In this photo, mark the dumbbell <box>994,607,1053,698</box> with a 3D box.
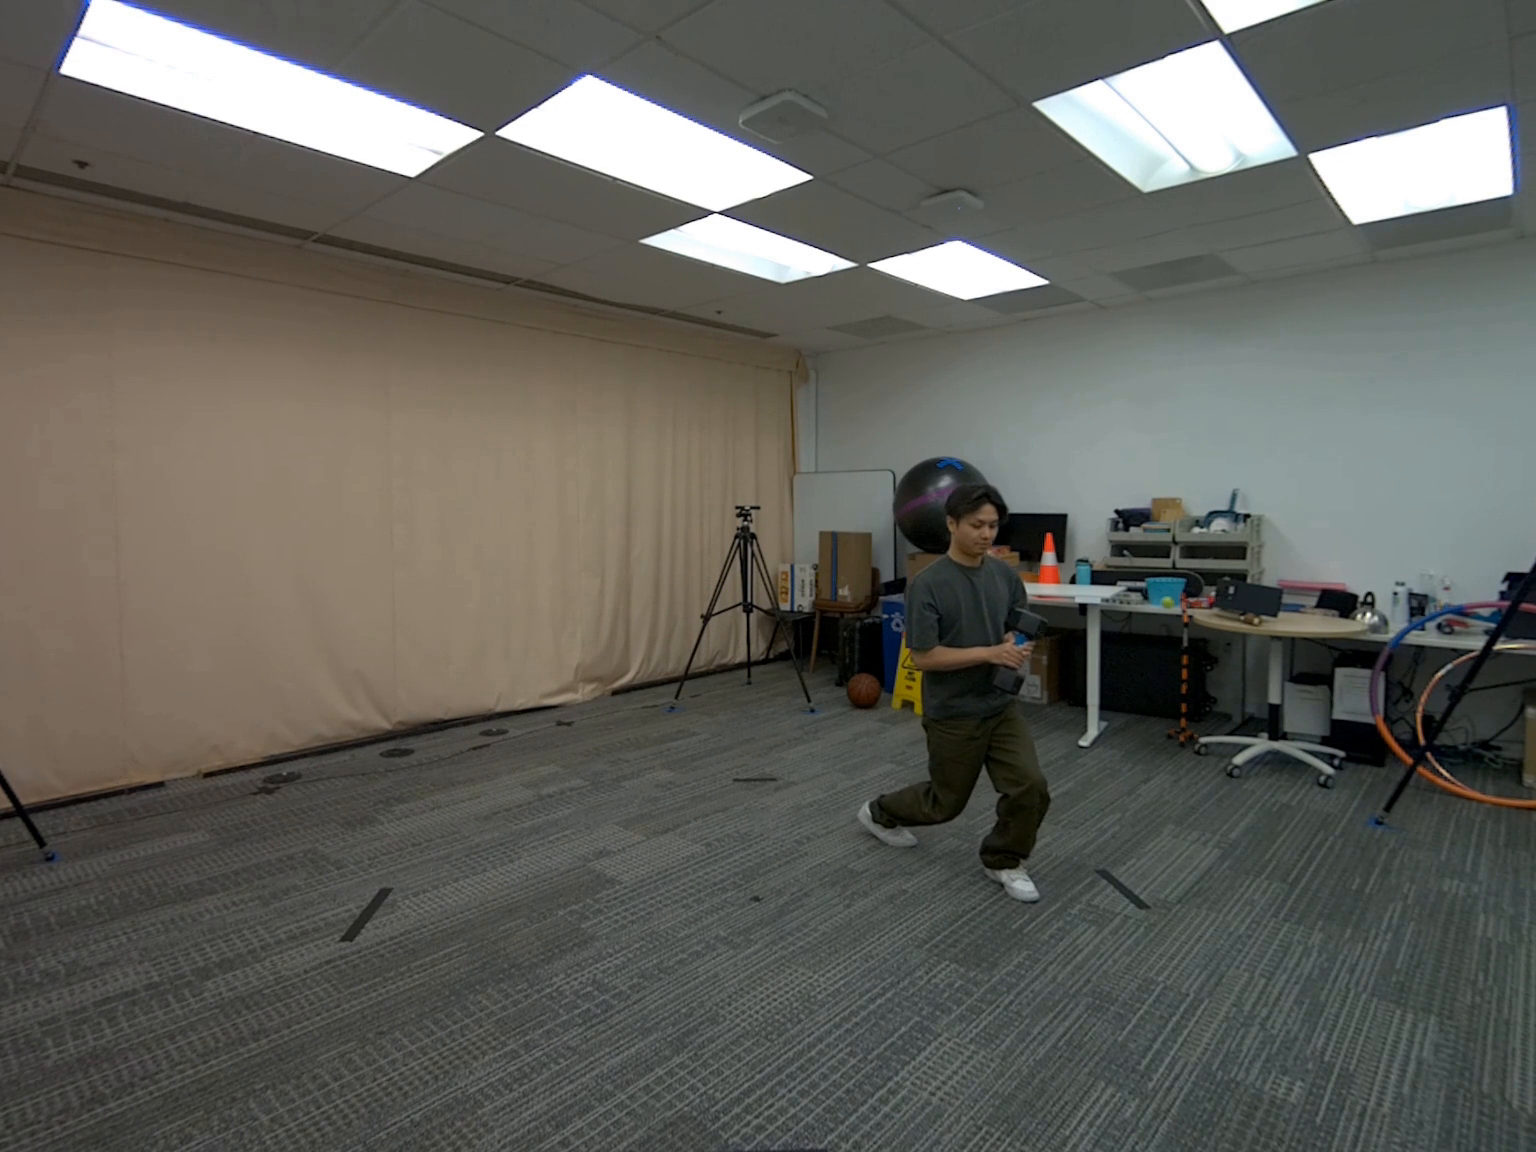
[{"bbox_3d":[0.865,0.259,2.959,0.125,0.293,0.106,24,1,16],"label":"dumbbell"}]
